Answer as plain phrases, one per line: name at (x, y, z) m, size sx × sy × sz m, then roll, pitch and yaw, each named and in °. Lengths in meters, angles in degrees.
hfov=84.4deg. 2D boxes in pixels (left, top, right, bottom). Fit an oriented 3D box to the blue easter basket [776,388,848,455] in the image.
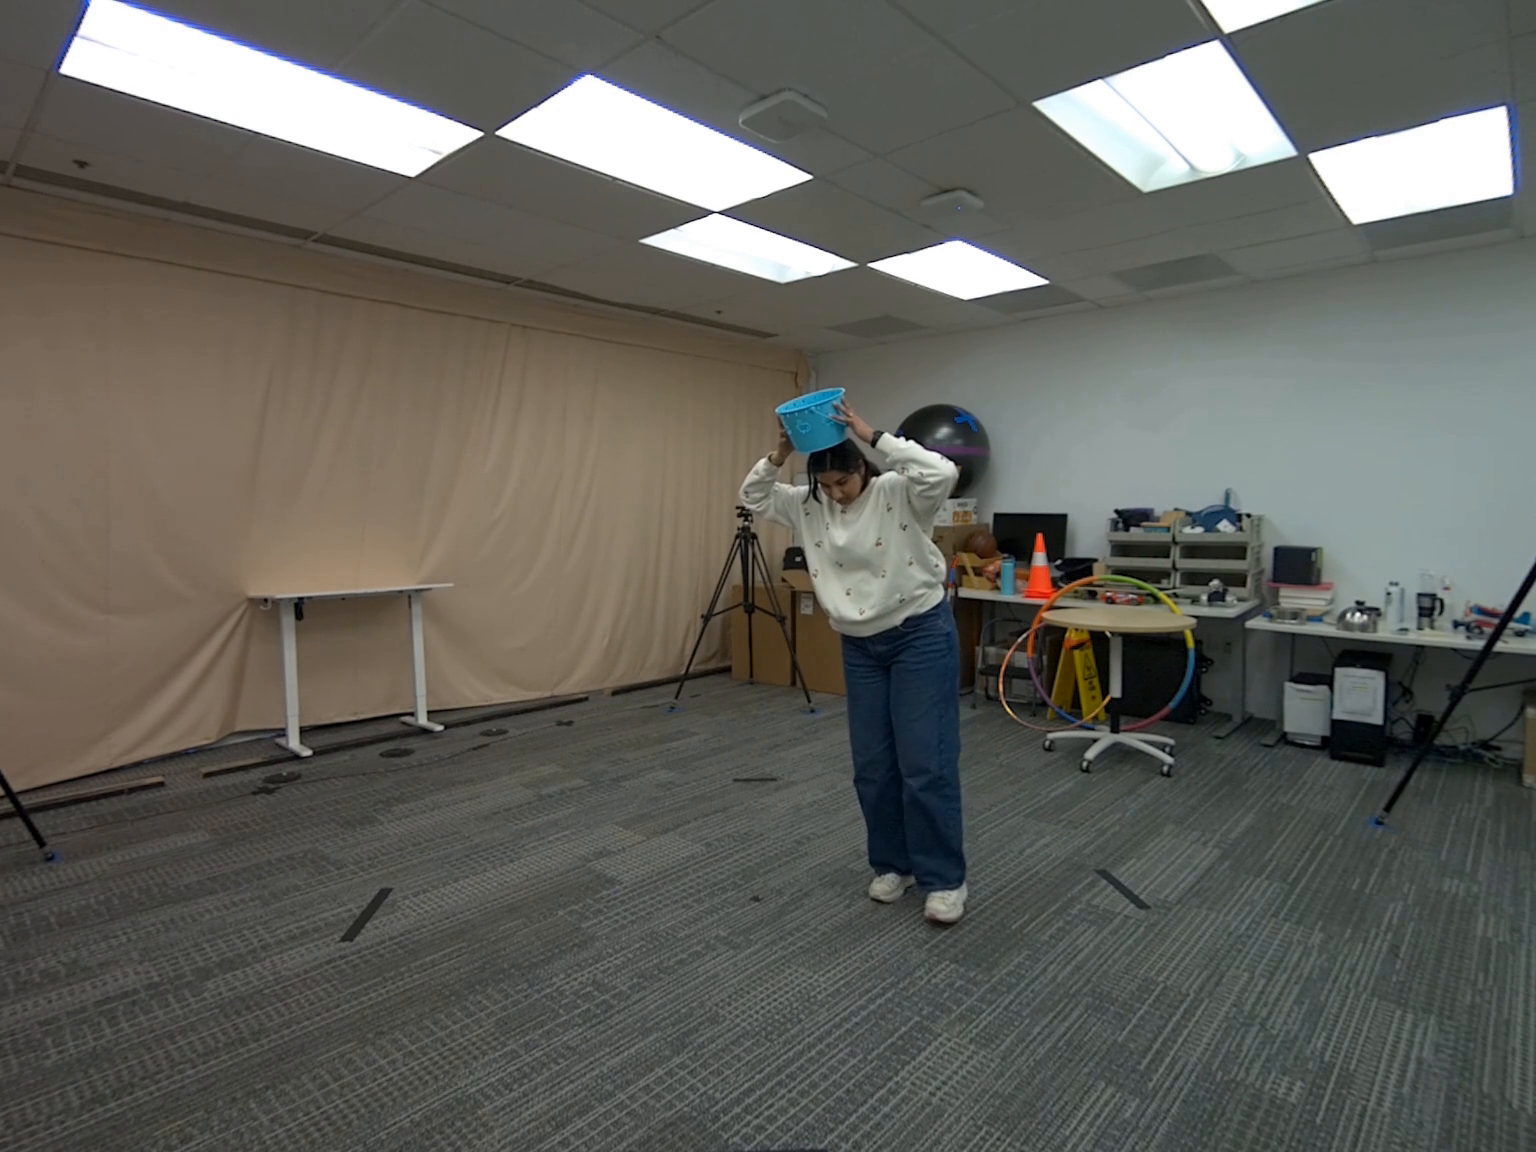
blue easter basket at (0.163, -0.510, 2.764) m, size 0.244 × 0.153 × 0.246 m, roll -17°, pitch 18°, yaw 4°
